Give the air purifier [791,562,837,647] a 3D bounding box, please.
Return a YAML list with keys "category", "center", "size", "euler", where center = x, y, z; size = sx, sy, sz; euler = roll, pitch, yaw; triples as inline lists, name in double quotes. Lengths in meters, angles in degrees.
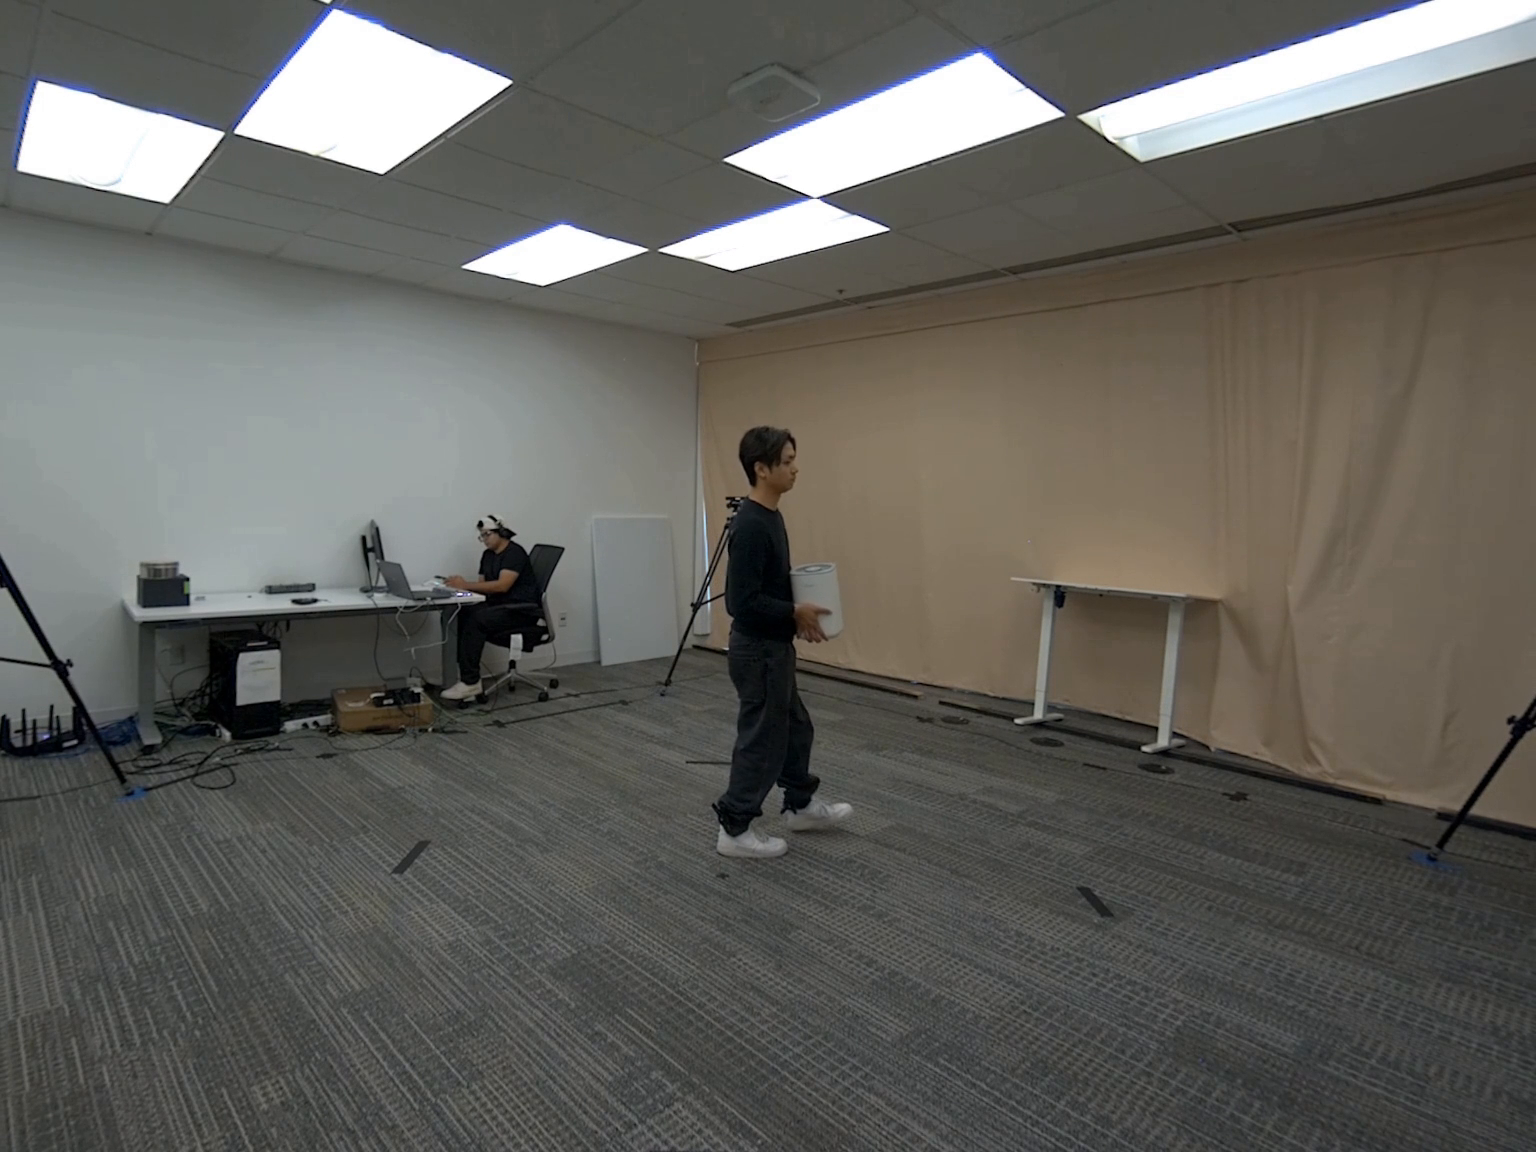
- category: "air purifier"
  center: [0.146, 0.106, 3.216]
  size: [0.171, 0.263, 0.172]
  euler: [-10, 9, 4]
